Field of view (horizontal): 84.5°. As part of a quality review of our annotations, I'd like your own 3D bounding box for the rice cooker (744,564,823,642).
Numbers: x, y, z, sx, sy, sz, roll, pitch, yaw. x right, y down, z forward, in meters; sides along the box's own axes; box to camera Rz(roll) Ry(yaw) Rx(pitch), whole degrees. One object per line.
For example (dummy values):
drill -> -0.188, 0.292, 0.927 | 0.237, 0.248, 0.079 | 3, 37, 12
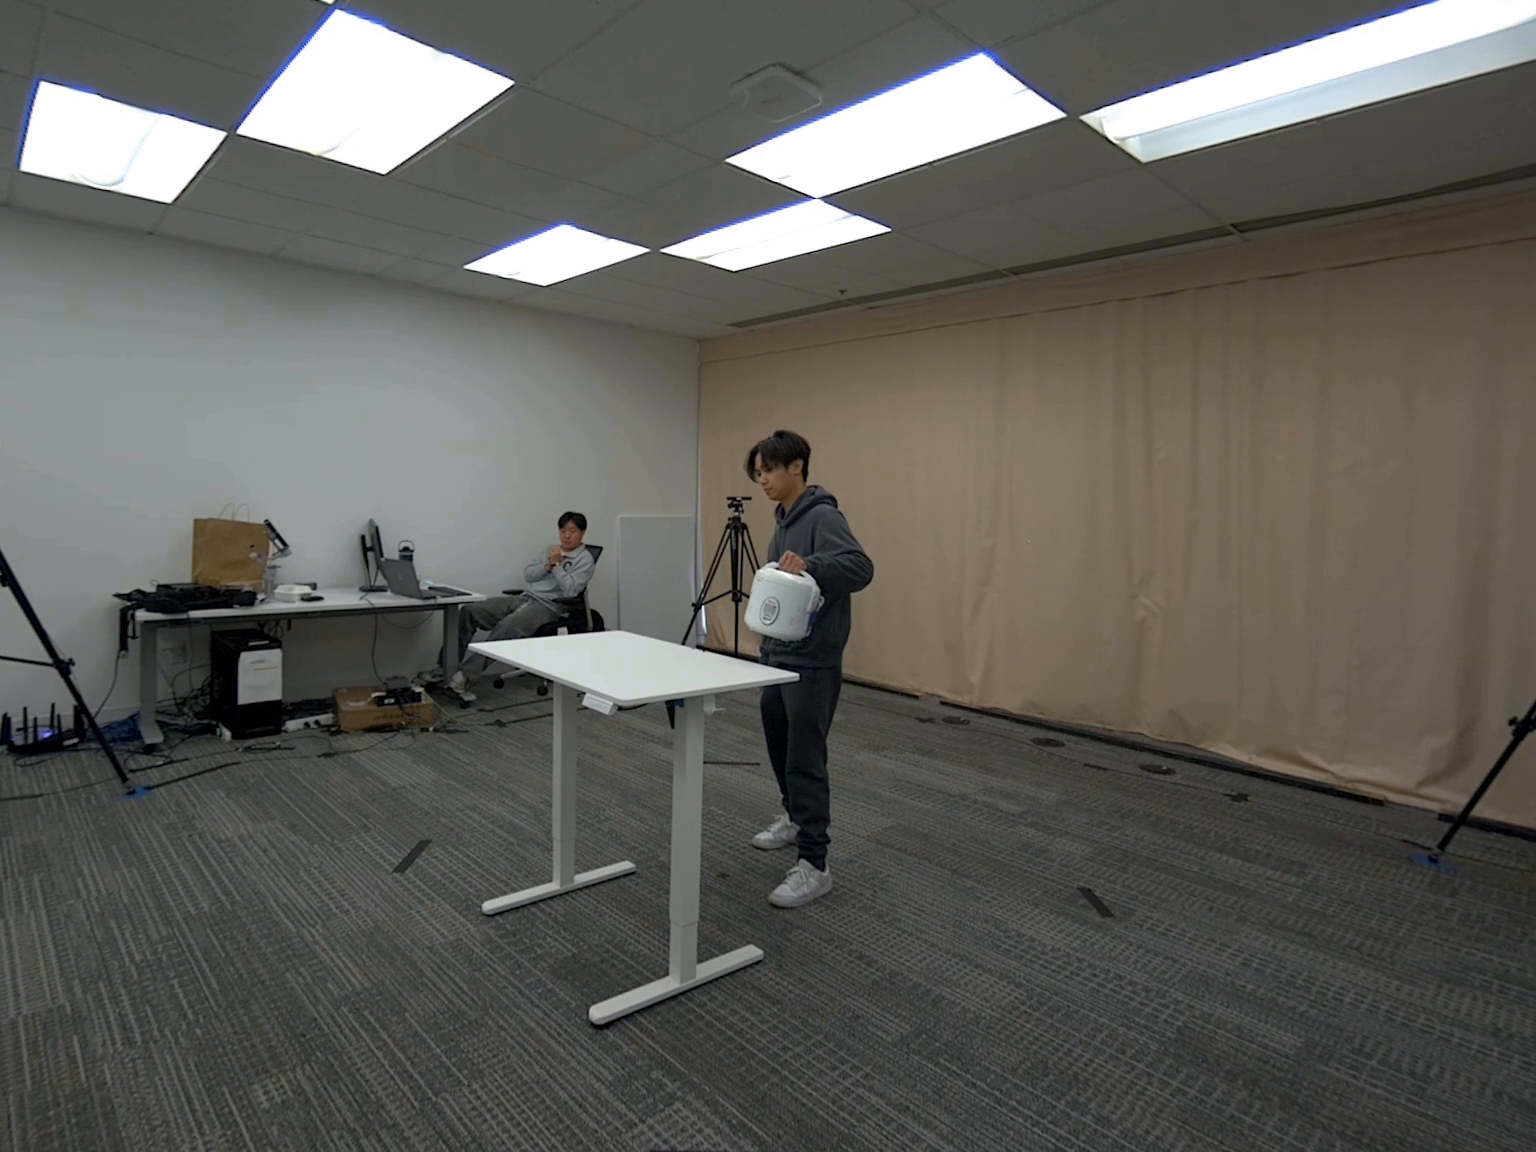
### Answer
rice cooker -> 0.045, 0.081, 2.704 | 0.225, 0.233, 0.213 | 14, 1, 19
